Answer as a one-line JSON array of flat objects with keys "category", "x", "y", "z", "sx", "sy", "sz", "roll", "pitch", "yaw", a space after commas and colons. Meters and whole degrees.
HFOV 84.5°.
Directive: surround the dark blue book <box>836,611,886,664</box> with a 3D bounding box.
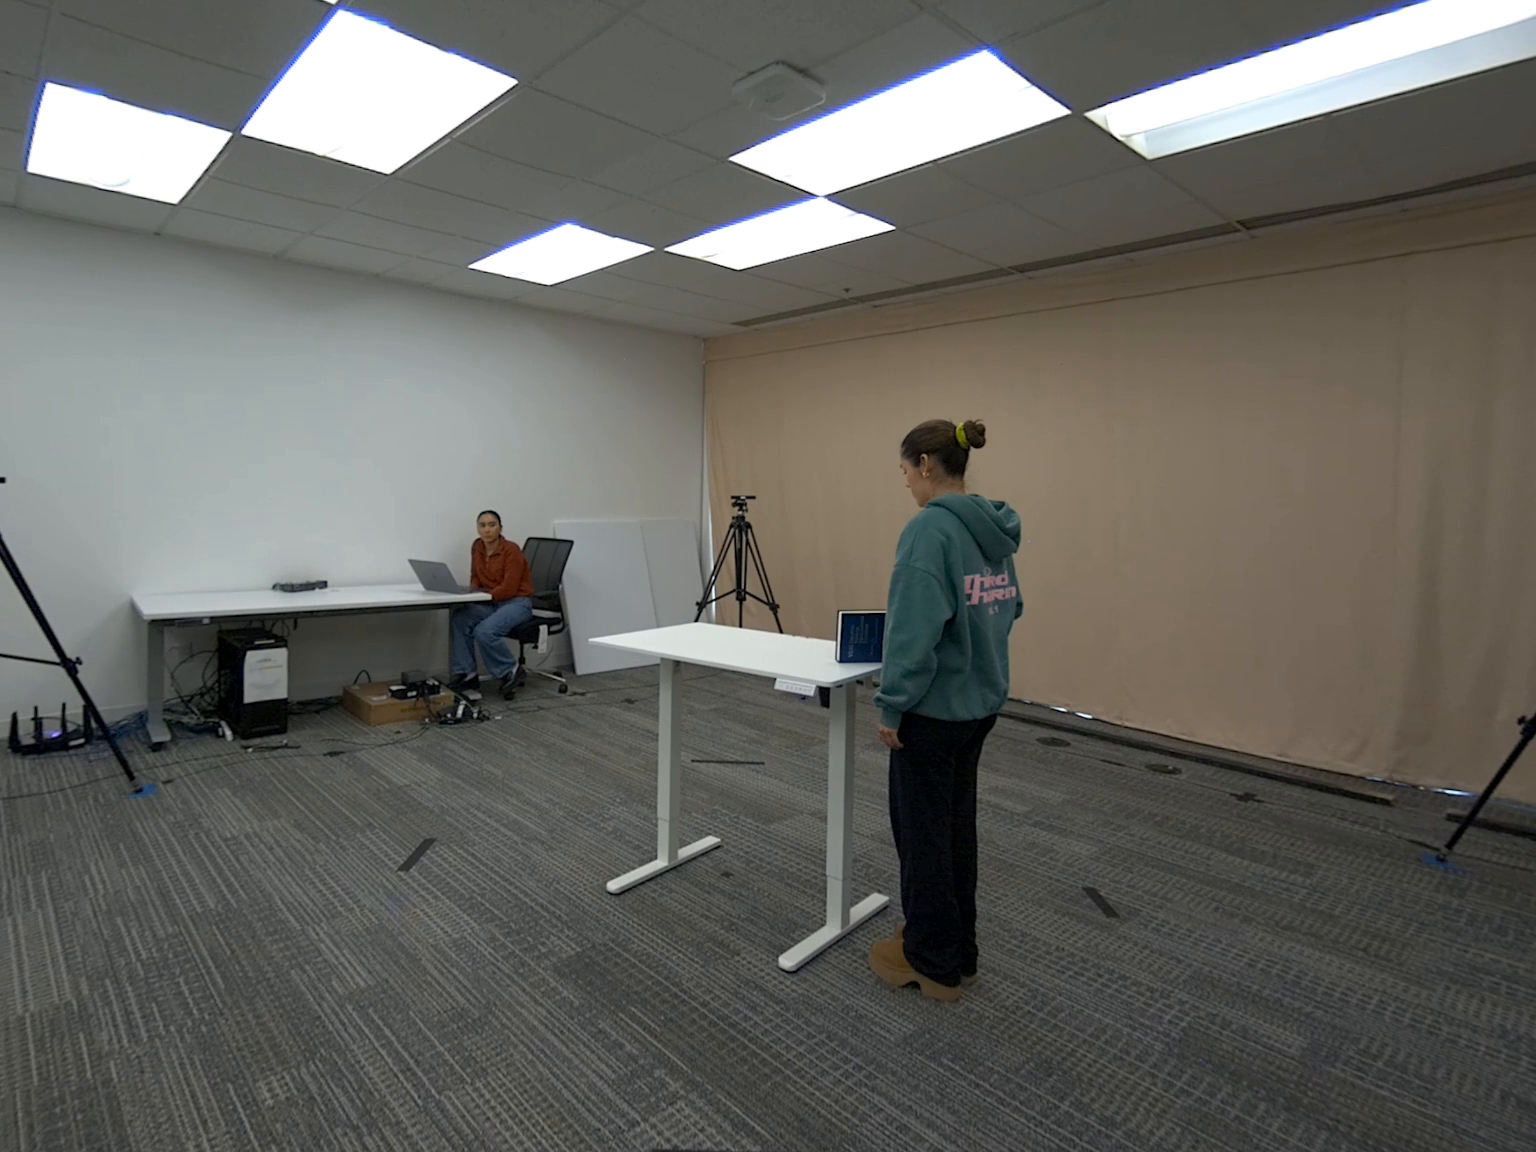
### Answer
[{"category": "dark blue book", "x": 0.329, "y": 0.192, "z": 2.637, "sx": 0.245, "sy": 0.162, "sz": 0.045, "roll": 2, "pitch": 9, "yaw": -2}]
